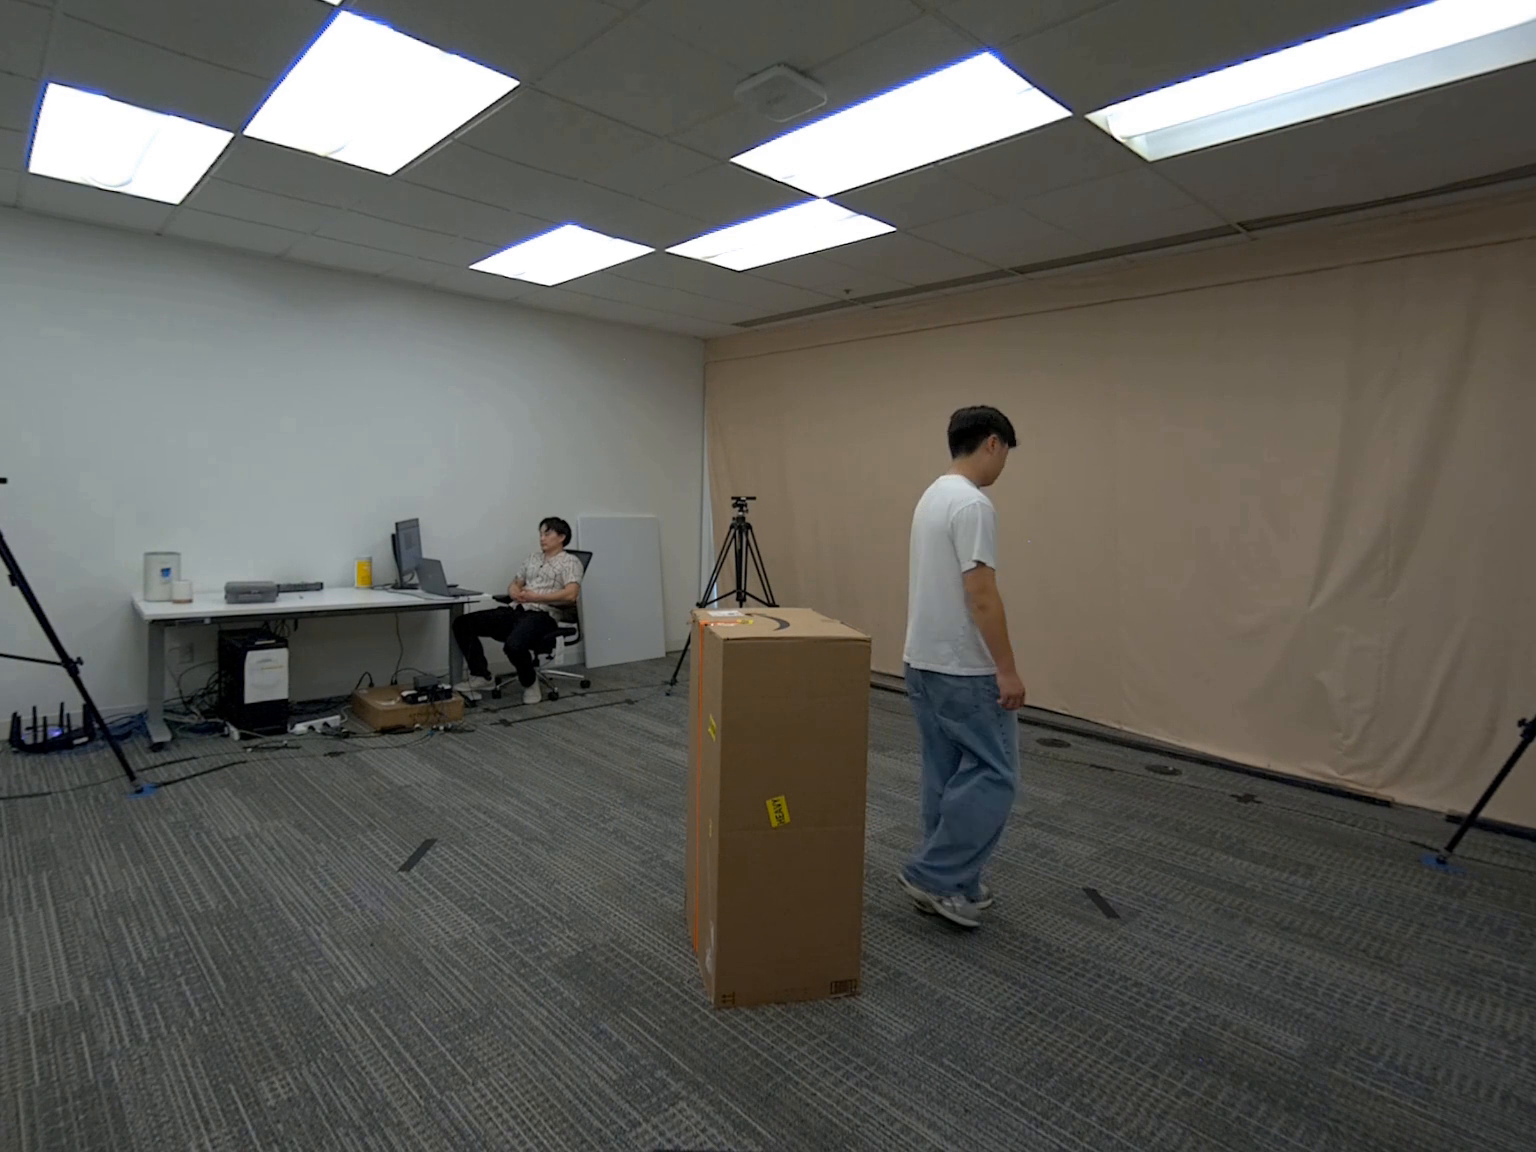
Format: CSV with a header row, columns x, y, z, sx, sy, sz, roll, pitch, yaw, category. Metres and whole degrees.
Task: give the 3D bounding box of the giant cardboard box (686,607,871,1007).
x,y,z,sx,sy,sz,roll,pitch,yaw,category
-0.004,0.649,2.573,0.421,1.023,0.586,0,4,-15,giant cardboard box
